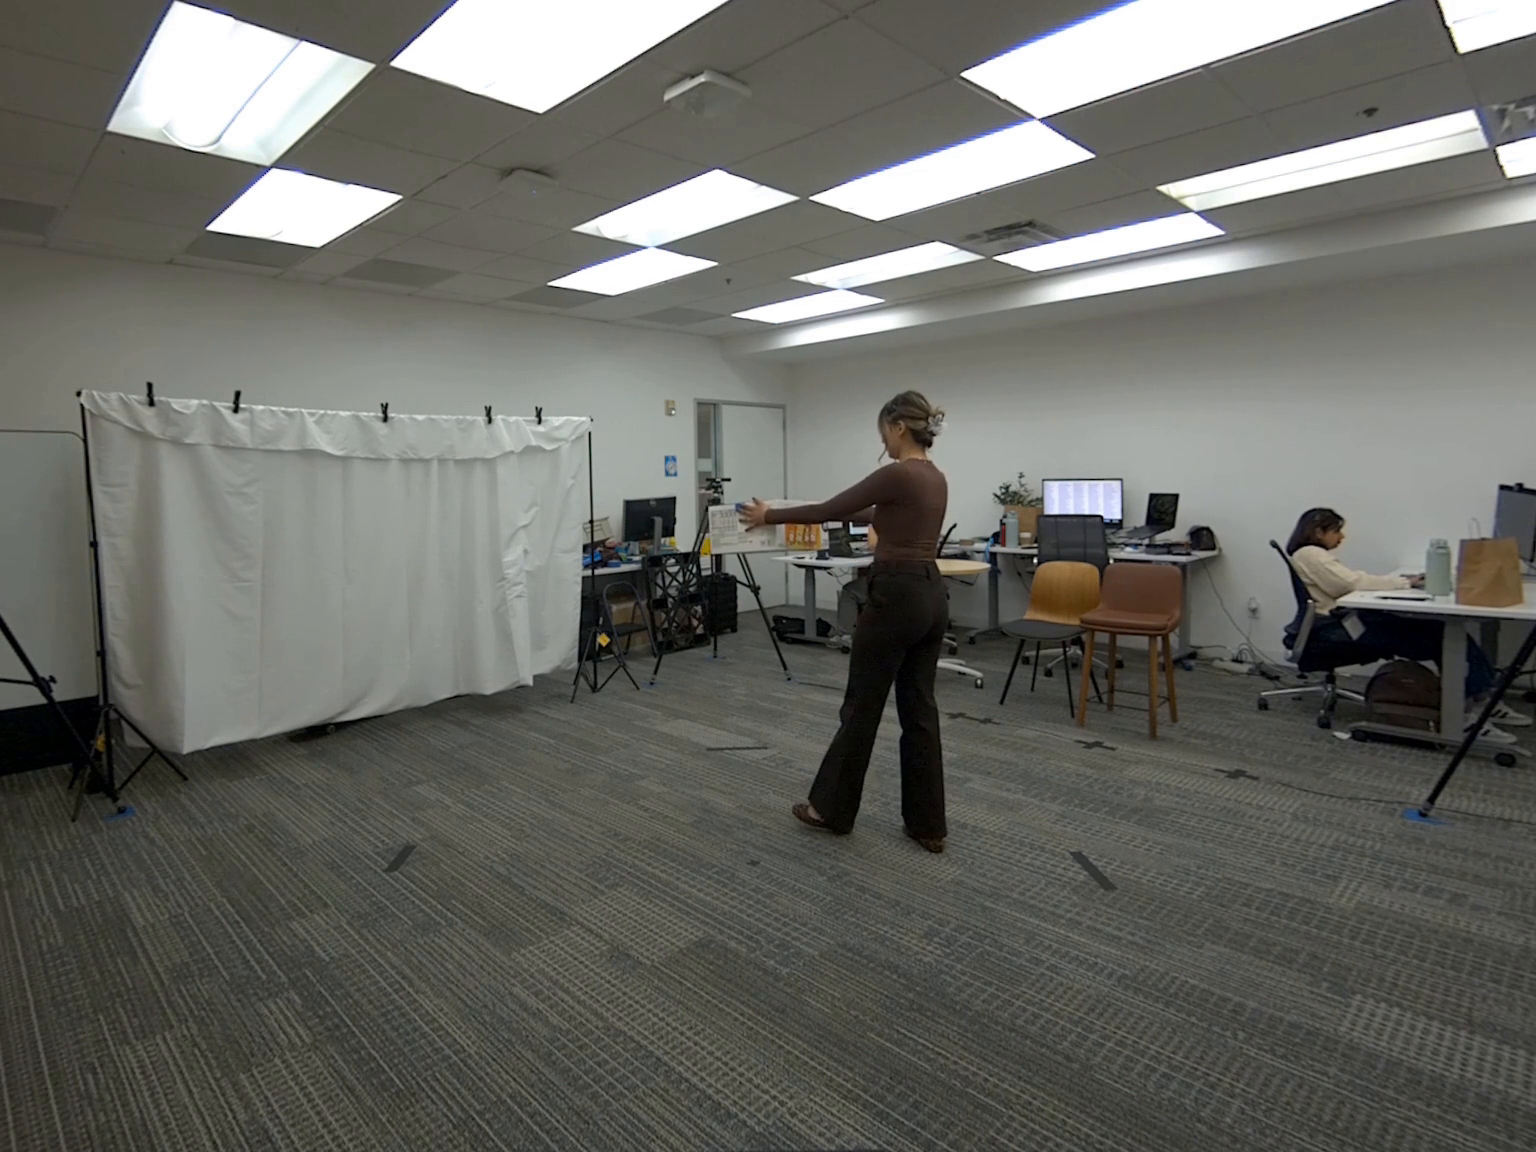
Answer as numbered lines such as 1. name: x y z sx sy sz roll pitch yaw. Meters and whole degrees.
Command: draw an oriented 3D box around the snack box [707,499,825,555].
1. snack box: 0.013 -0.205 3.646 0.349 0.206 0.394 -2 1 36
